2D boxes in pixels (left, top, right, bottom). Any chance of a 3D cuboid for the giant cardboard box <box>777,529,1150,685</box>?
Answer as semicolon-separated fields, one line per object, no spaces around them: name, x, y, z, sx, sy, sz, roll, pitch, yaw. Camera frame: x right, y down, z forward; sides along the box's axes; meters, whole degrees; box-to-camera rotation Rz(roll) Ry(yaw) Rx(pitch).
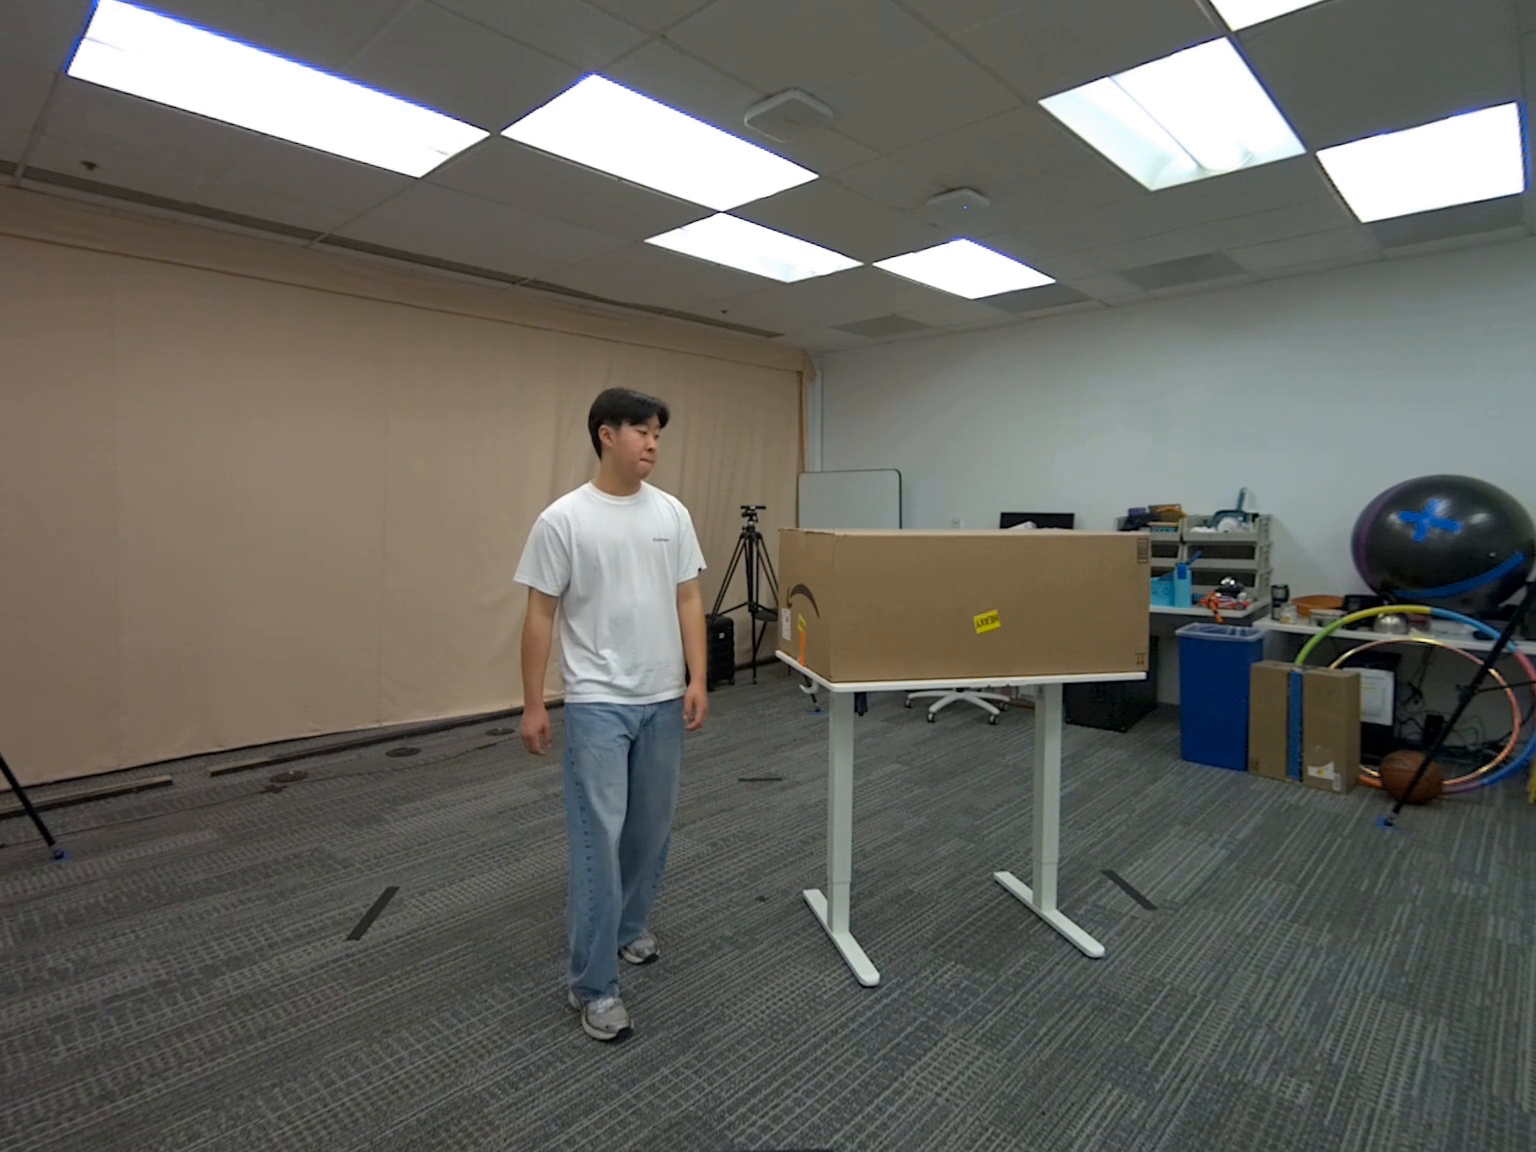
giant cardboard box;0.604;0.065;2.755;1.013;0.426;0.585;0;2;-12
